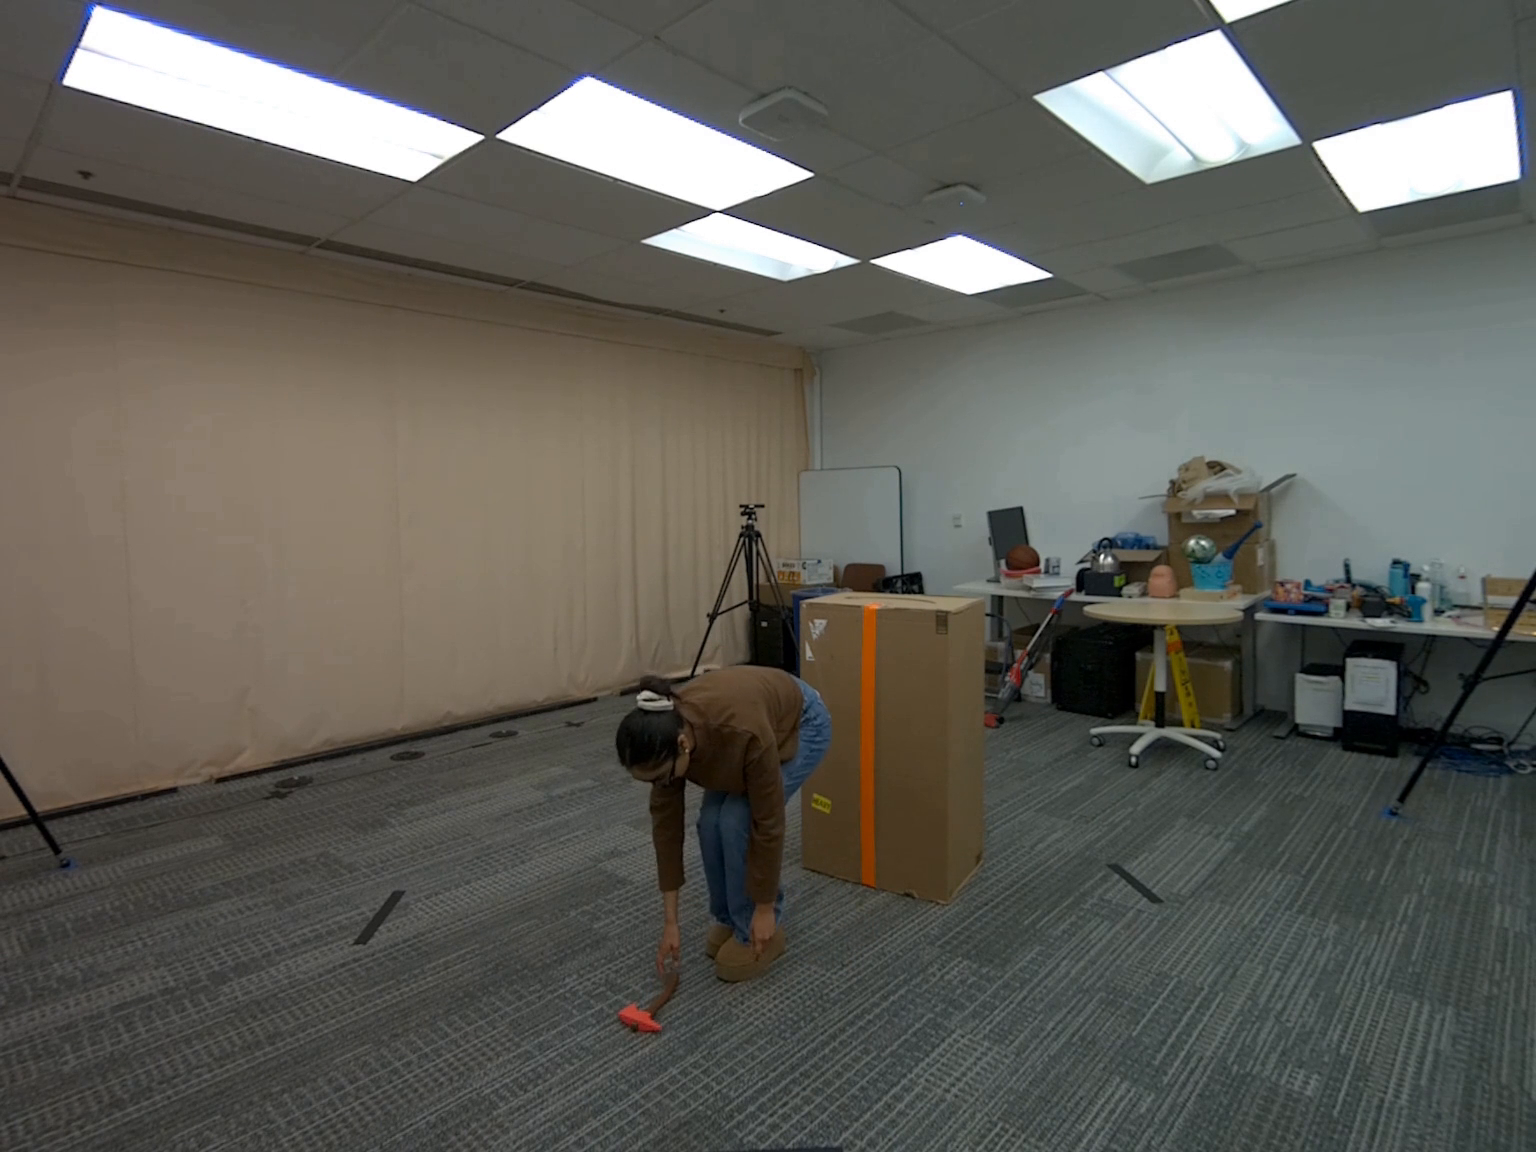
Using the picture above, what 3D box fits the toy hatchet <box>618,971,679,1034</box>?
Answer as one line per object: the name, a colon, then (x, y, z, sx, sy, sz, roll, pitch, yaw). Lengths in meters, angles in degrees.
toy hatchet: (-0.330, 1.186, 2.353, 0.132, 0.029, 0.269, -3, 3, 5)
